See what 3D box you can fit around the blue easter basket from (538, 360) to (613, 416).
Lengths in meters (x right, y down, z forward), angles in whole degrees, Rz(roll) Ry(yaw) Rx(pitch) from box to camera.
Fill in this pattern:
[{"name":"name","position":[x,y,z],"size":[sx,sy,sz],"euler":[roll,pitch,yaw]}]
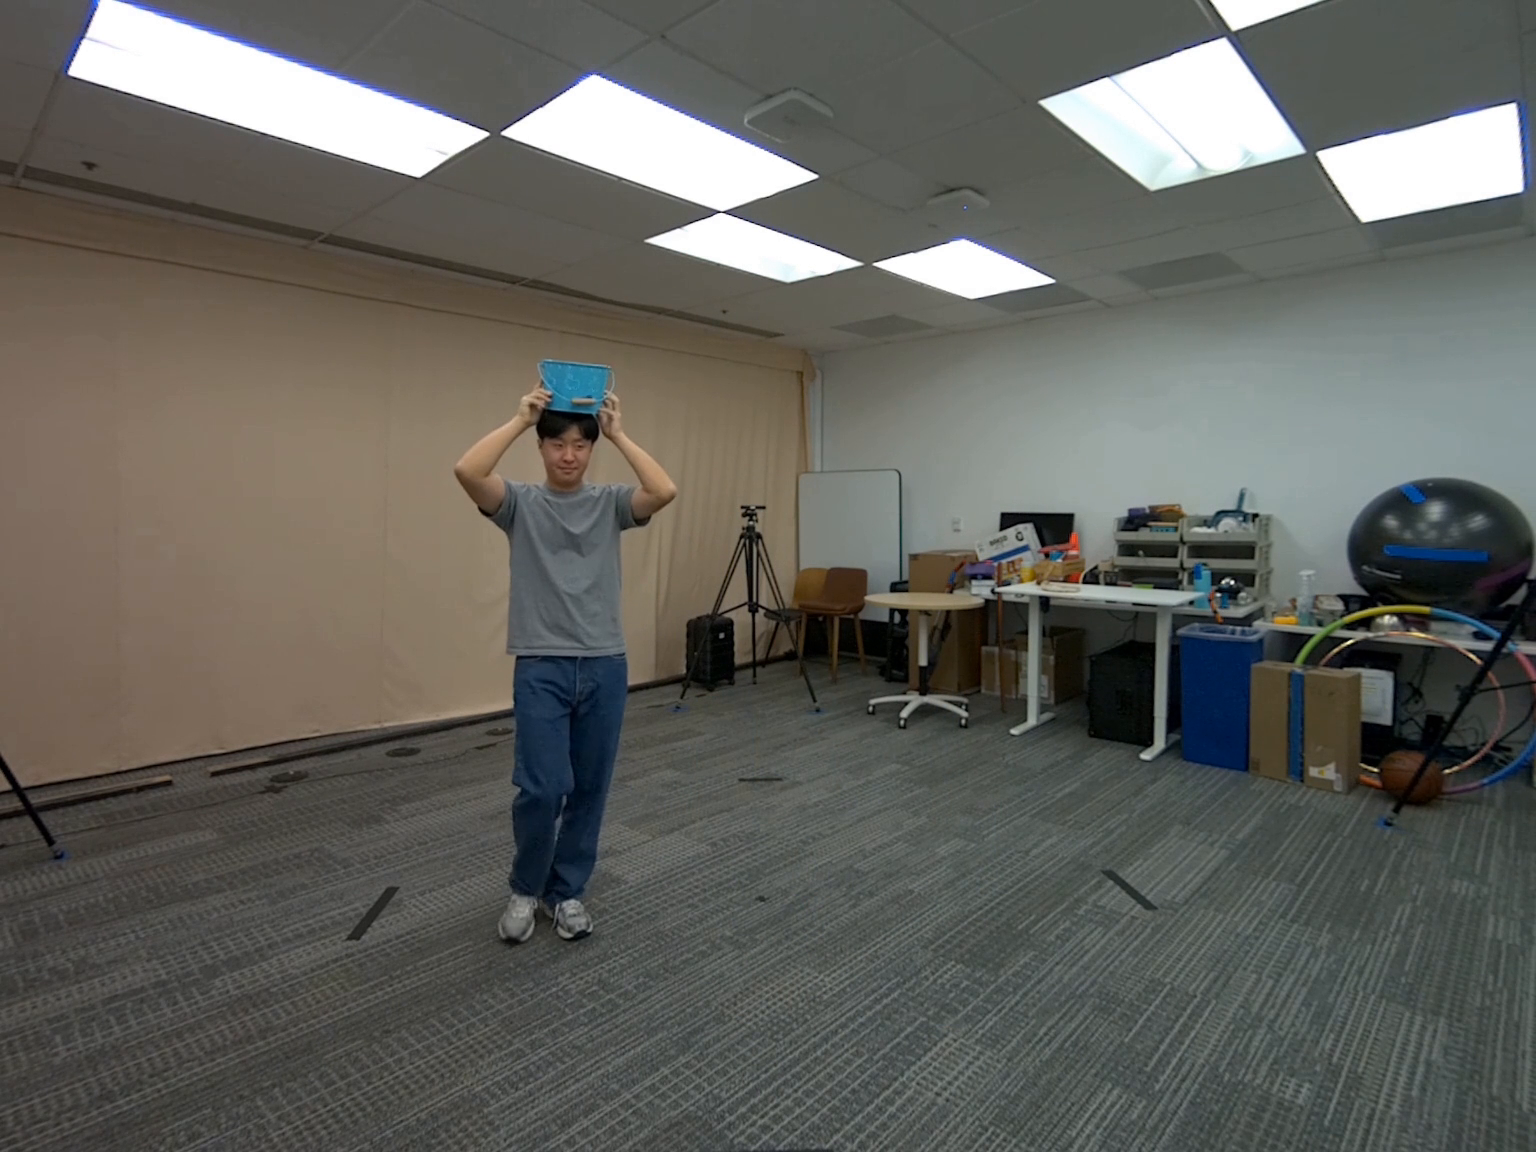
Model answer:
[{"name":"blue easter basket","position":[-0.638,-0.612,2.723],"size":[0.243,0.155,0.245],"euler":[3,11,-2]}]
